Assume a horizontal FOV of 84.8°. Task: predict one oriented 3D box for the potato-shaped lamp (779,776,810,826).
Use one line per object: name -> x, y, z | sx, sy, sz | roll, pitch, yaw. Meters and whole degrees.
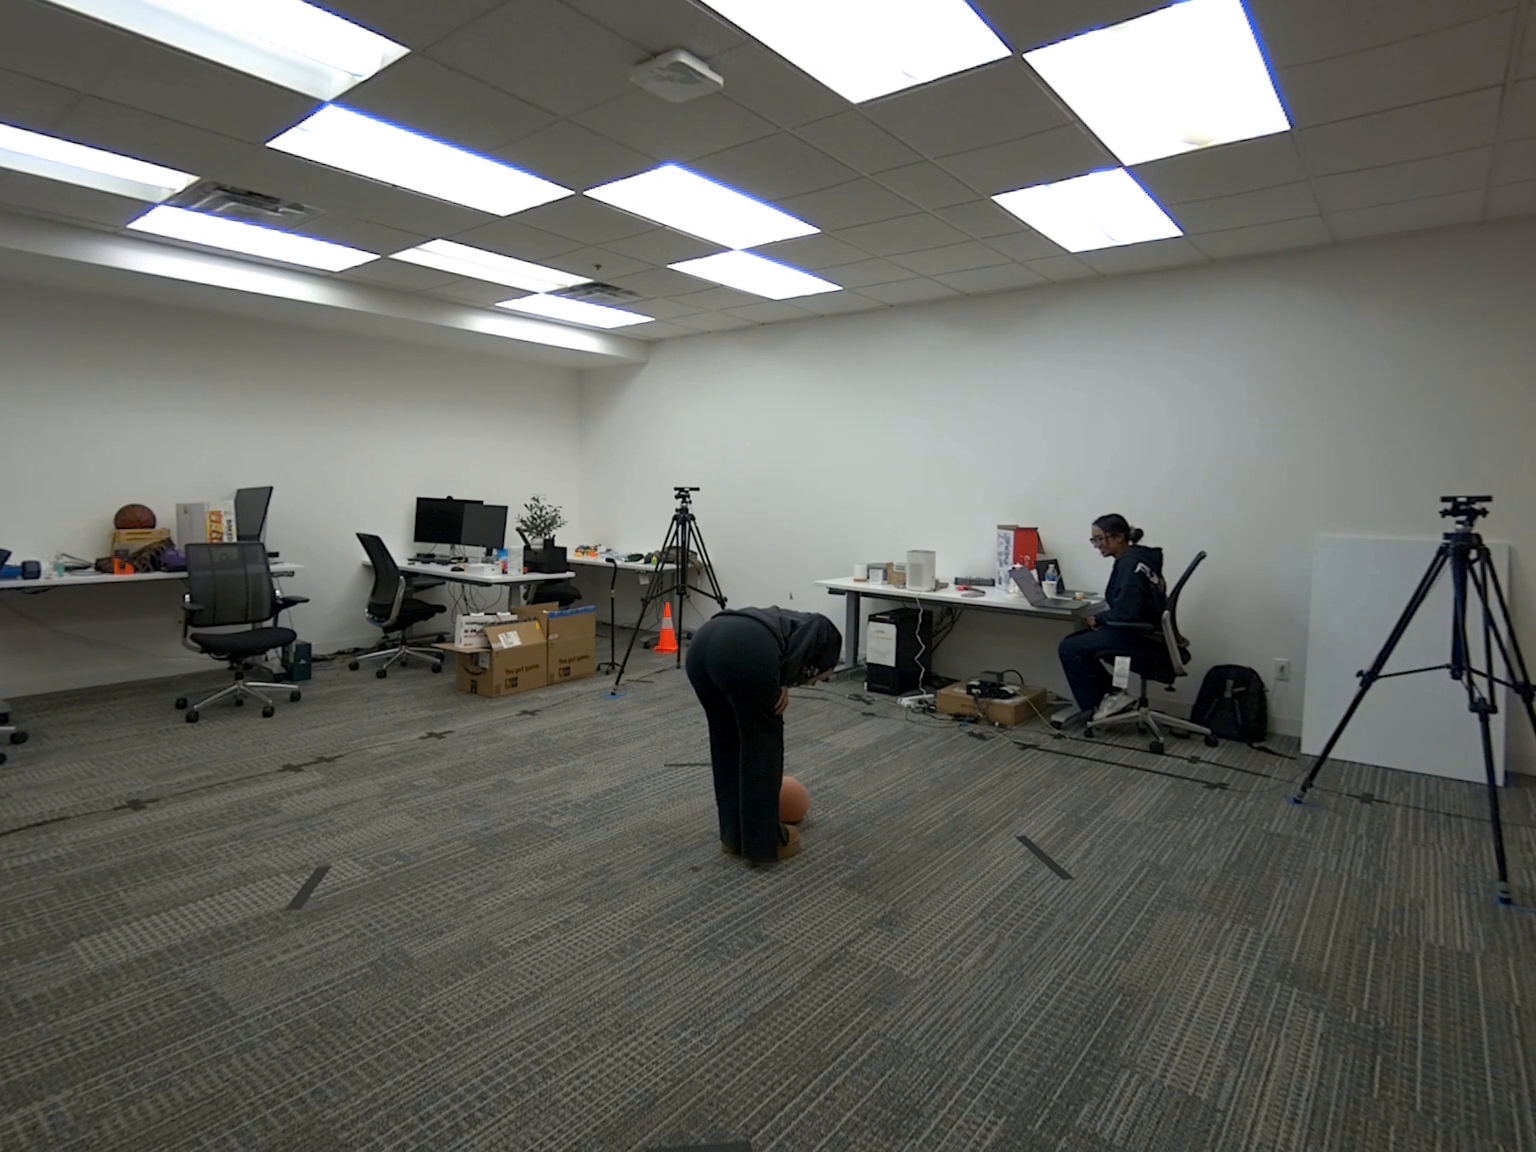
potato-shaped lamp -> 0.086, 0.922, 3.567 | 0.168, 0.192, 0.173 | 7, 41, 20
